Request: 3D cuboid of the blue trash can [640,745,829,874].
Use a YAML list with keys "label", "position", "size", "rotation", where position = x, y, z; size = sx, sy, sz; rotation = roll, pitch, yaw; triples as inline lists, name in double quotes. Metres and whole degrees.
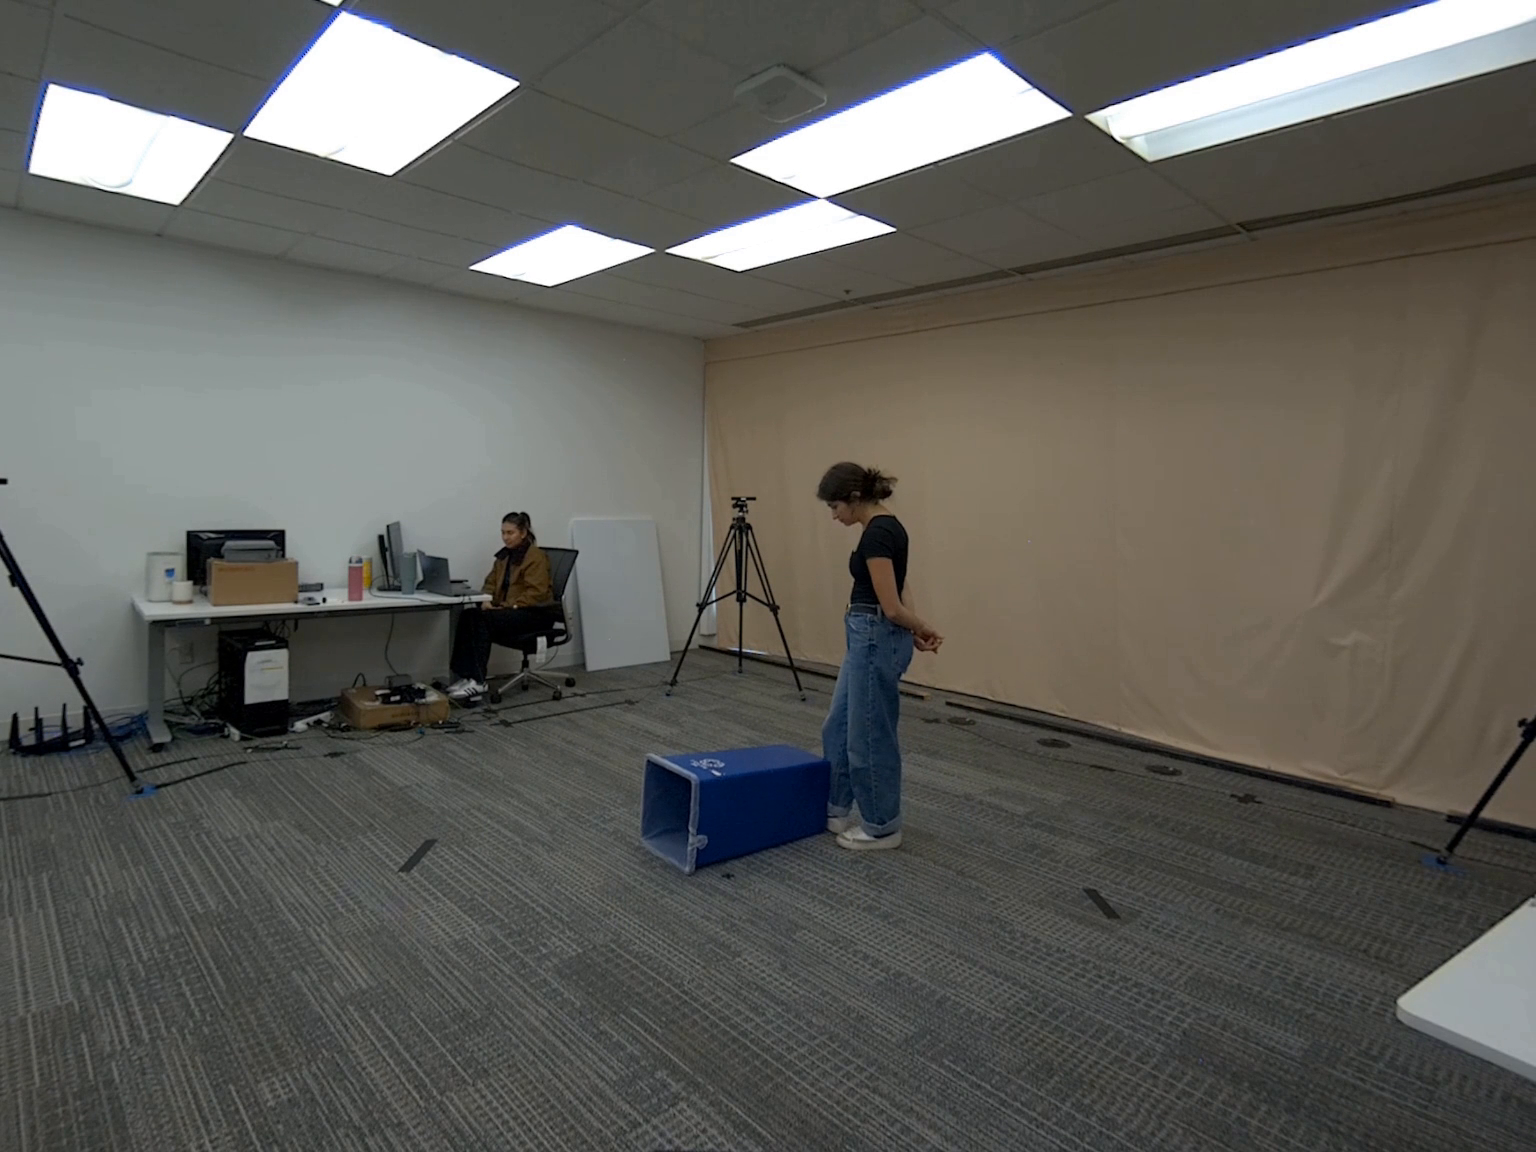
- label: "blue trash can"
  position: [-0.128, 0.912, 3.434]
  size: [0.697, 0.378, 0.383]
  rotation: [2, 3, -38]
